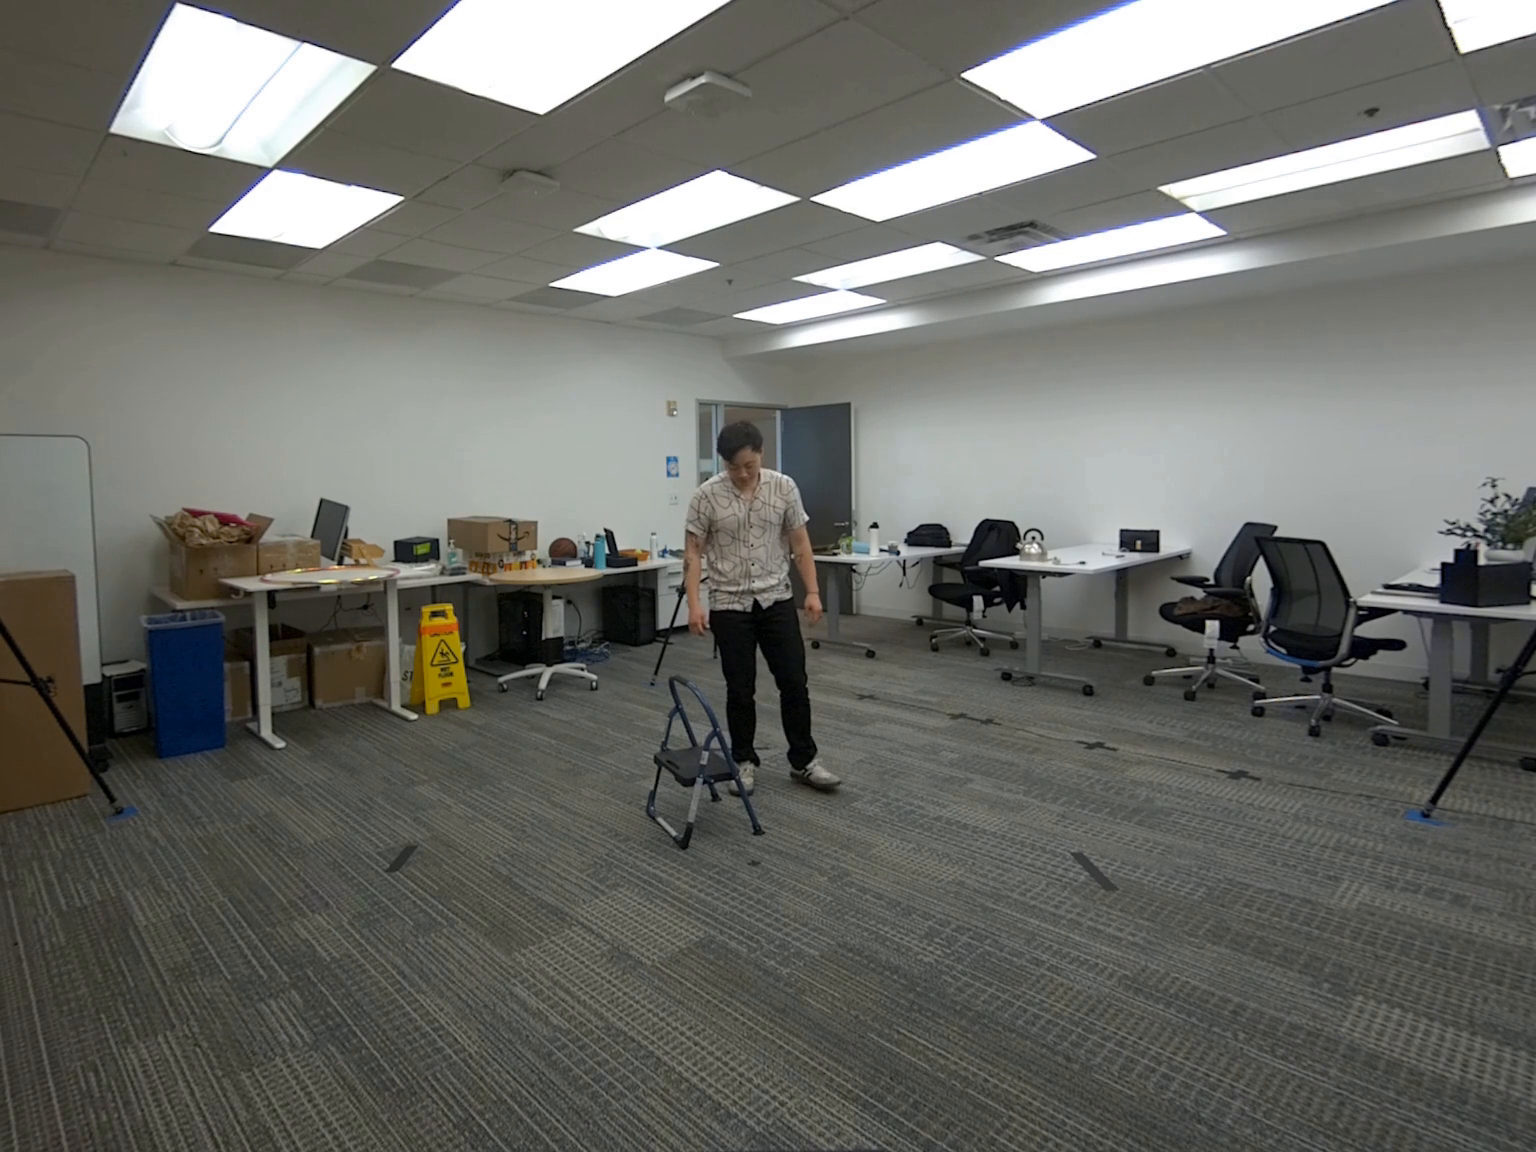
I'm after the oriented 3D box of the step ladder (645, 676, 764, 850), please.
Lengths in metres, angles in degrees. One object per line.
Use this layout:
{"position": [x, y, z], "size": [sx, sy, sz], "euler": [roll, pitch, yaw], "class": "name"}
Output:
{"position": [-0.271, 0.703, 3.462], "size": [0.341, 0.604, 0.442], "euler": [-2, 4, -28], "class": "step ladder"}
